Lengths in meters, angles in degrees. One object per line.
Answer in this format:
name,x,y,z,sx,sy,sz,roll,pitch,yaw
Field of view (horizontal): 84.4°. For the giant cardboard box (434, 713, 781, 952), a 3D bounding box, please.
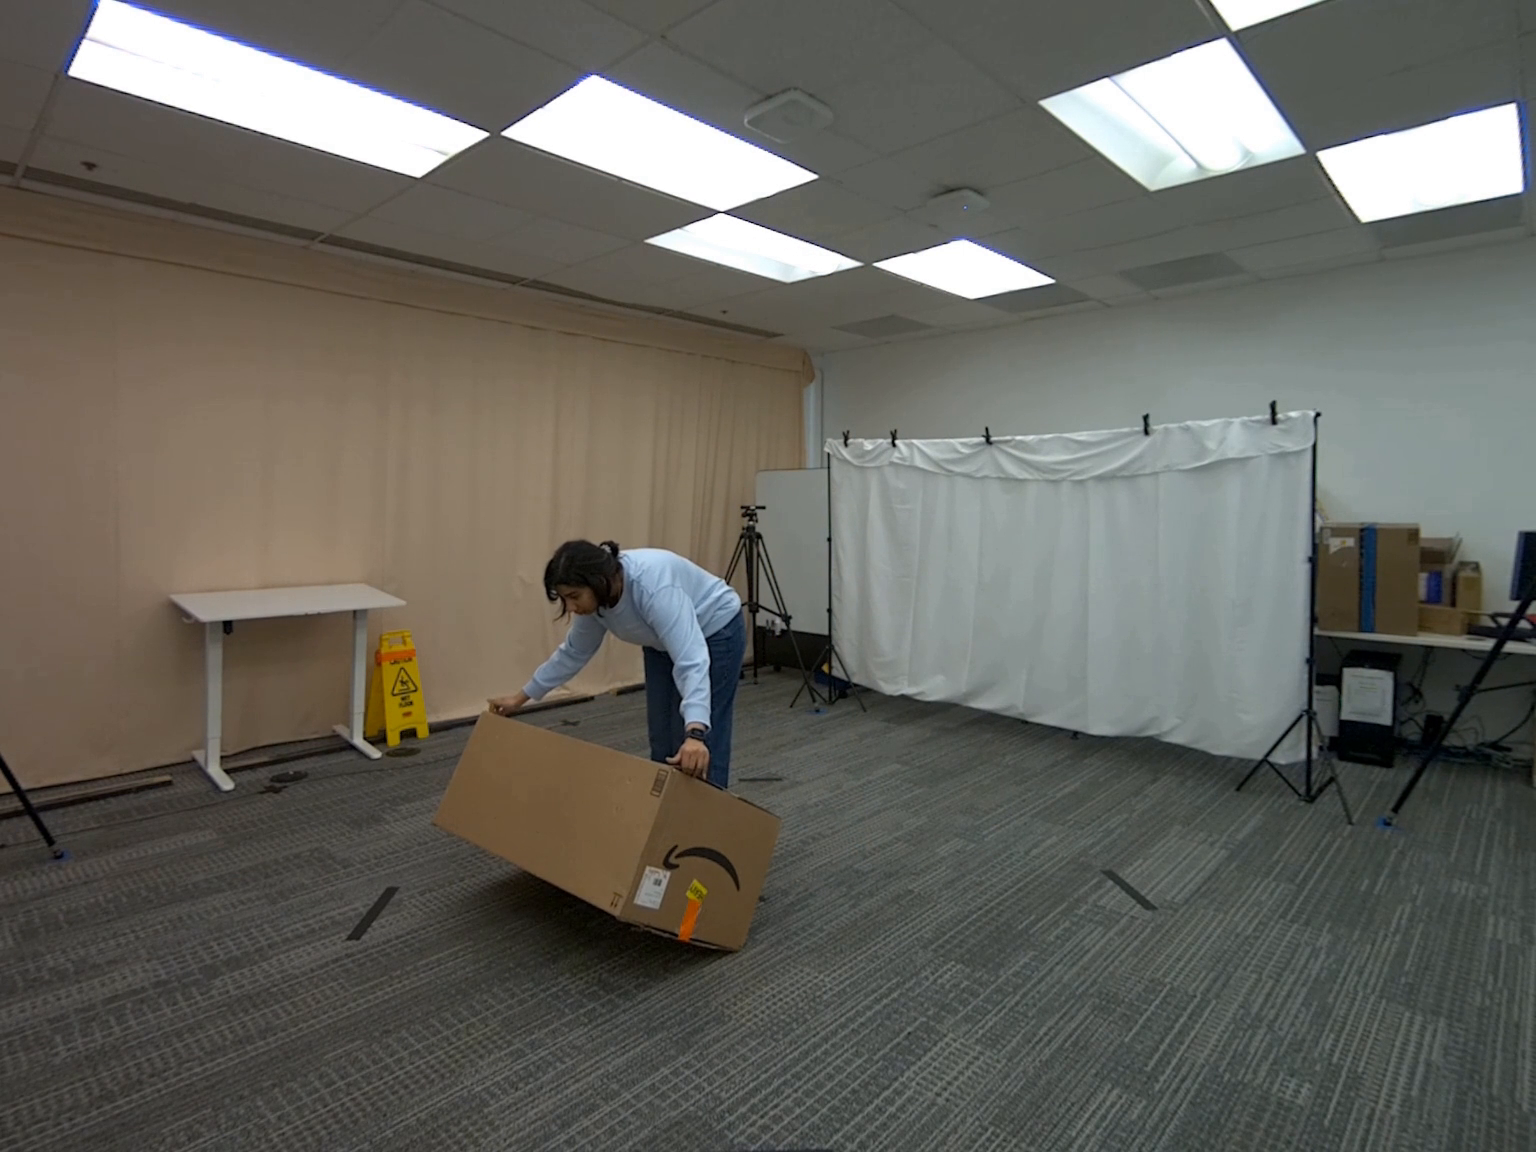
giant cardboard box,-0.570,0.835,2.862,1.060,0.428,0.556,4,-24,42
